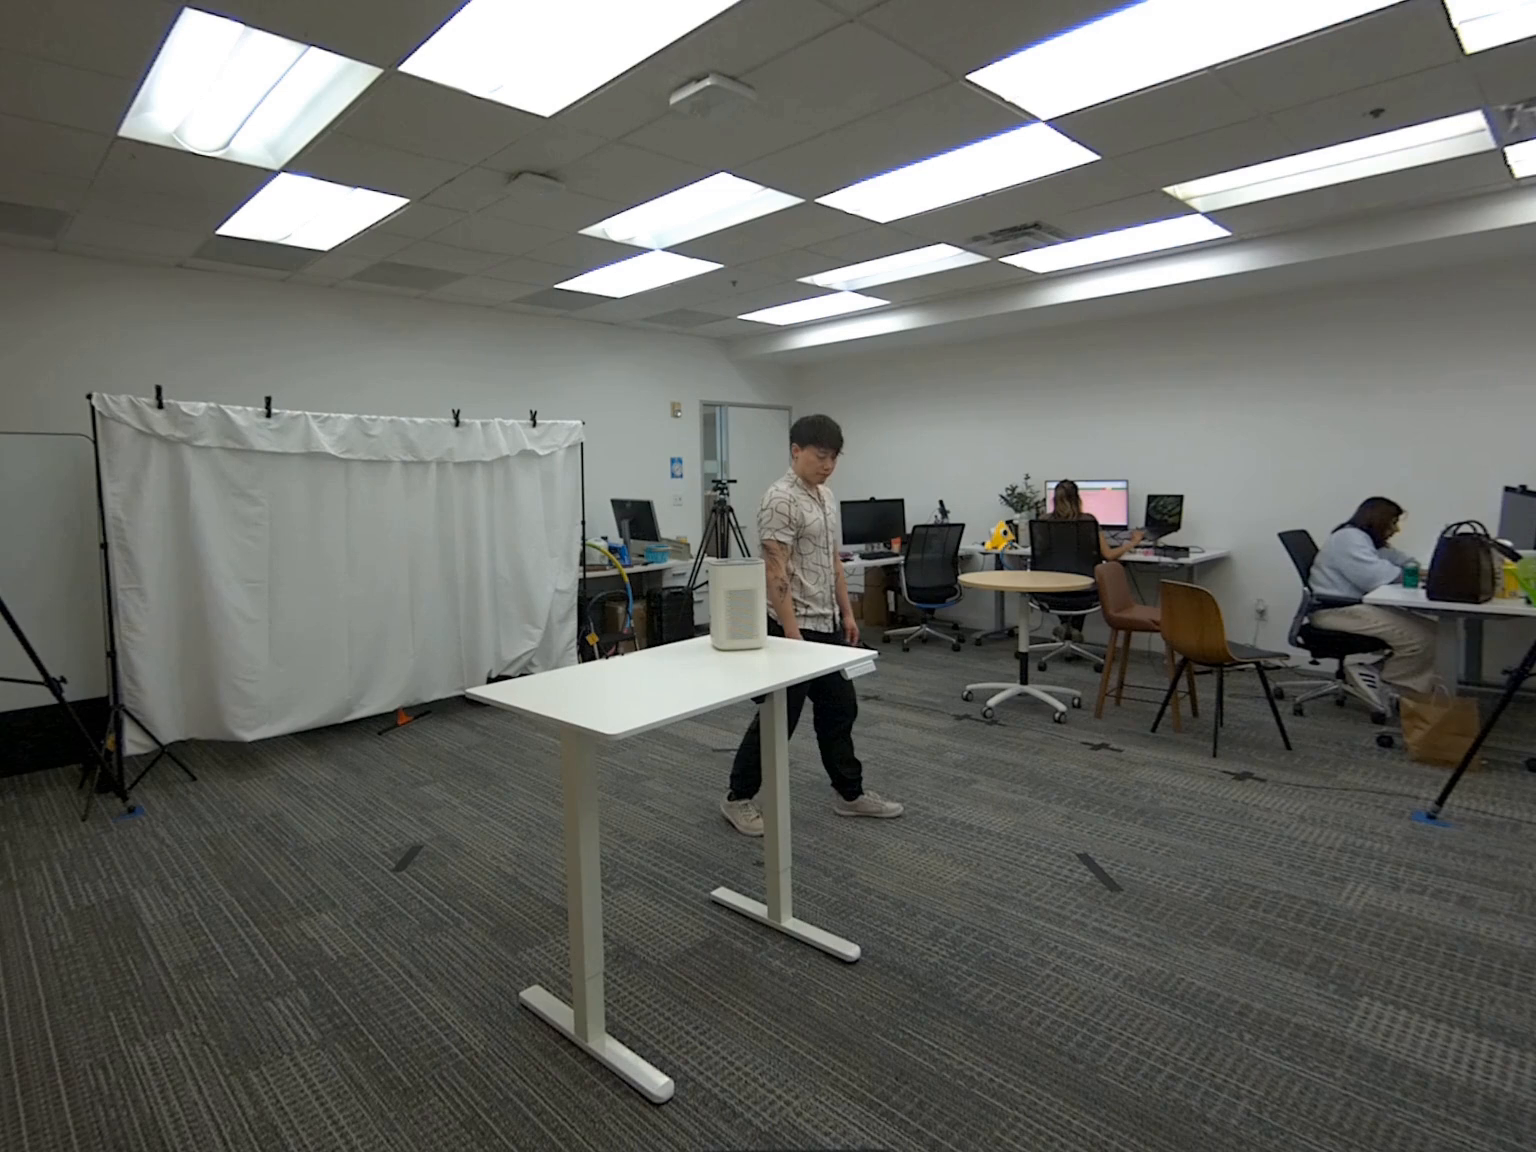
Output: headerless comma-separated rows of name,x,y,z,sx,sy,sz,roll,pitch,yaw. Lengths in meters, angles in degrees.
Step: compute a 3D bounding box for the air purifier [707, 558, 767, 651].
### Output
air purifier,-0.089,0.085,2.631,0.171,0.264,0.172,-2,4,-5
